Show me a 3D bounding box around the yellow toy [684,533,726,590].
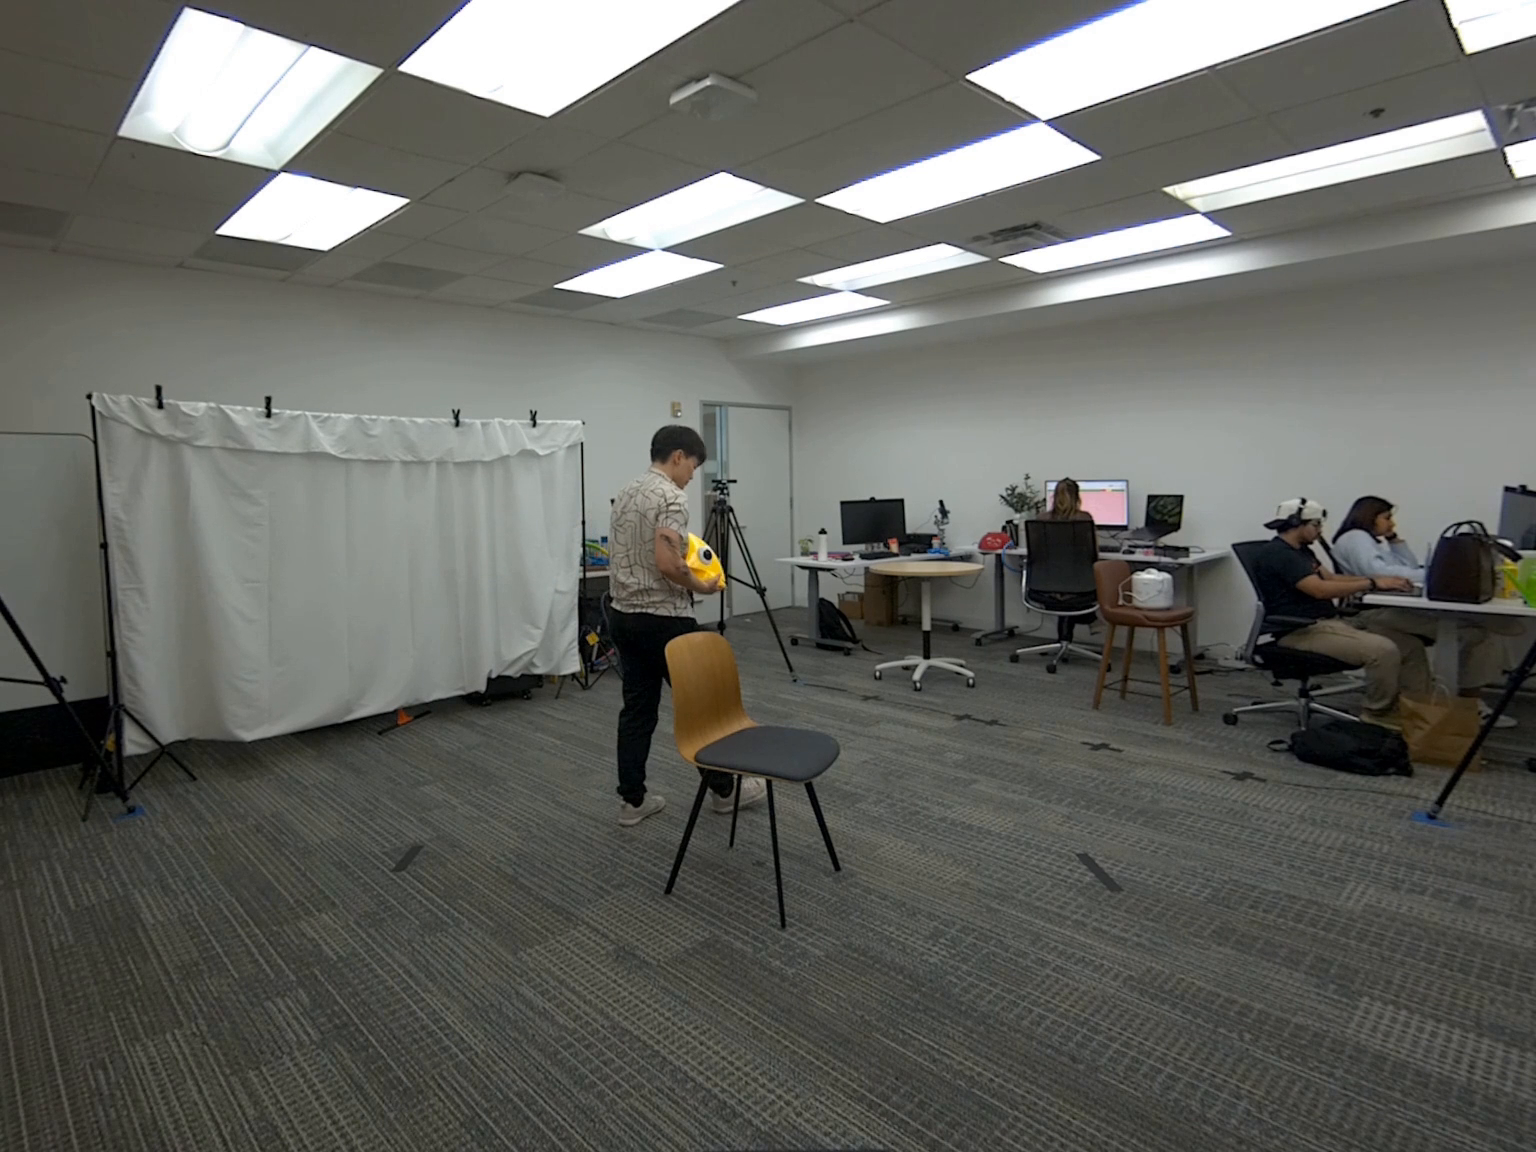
[{"bbox_3d":[-0.276,-0.068,3.626,0.191,0.232,0.206,0,-5,-10],"label":"yellow toy"}]
